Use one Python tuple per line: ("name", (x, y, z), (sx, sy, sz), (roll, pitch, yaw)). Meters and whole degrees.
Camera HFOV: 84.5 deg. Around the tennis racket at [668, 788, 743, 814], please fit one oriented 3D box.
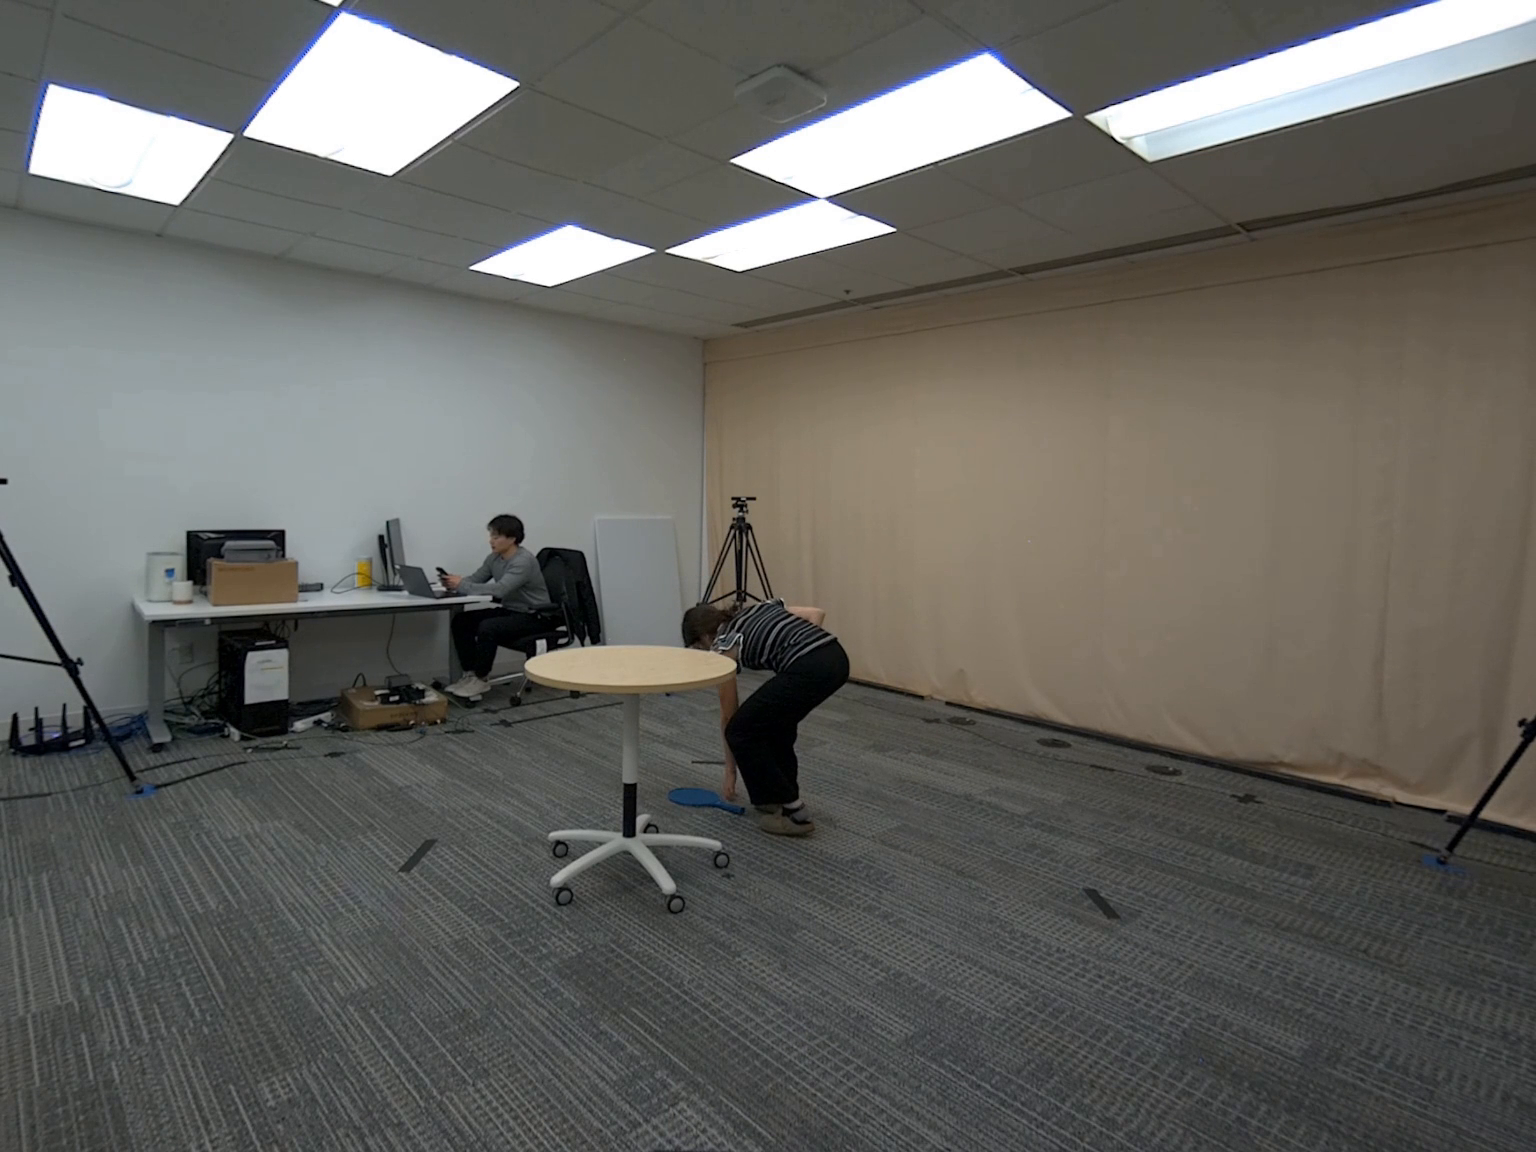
("tennis racket", (-0.287, 1.022, 3.851), (0.443, 0.032, 0.209), (4, 4, 40))
